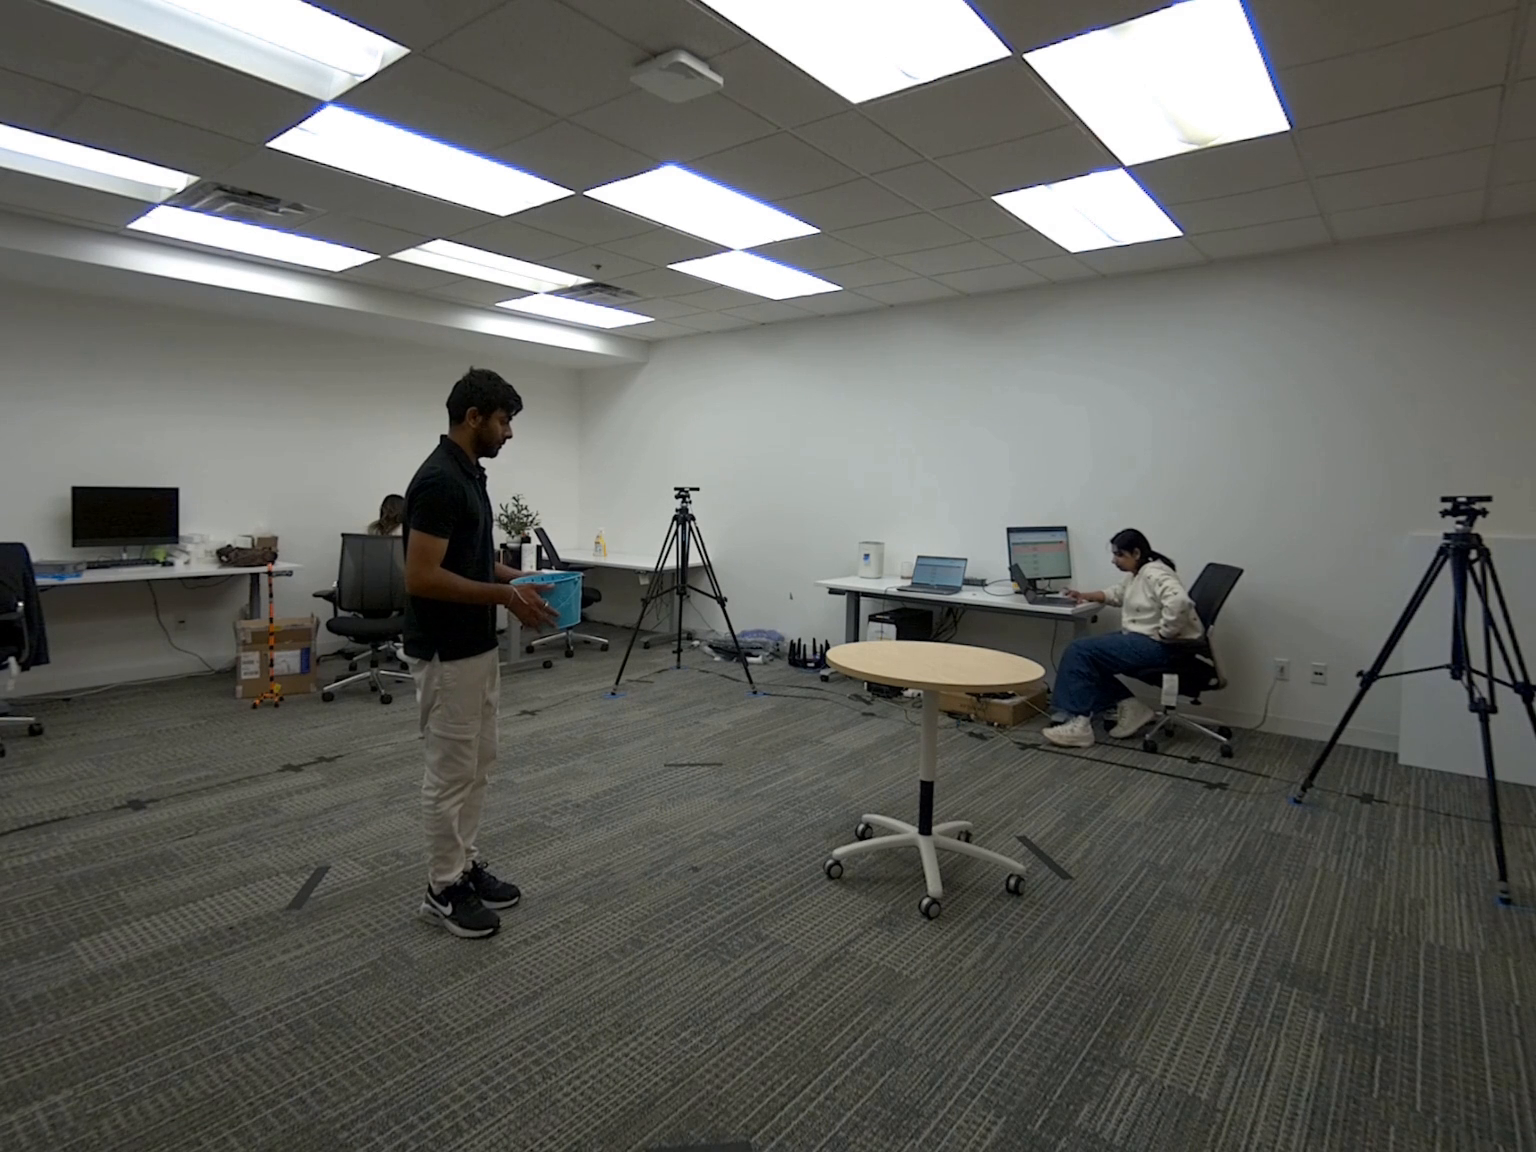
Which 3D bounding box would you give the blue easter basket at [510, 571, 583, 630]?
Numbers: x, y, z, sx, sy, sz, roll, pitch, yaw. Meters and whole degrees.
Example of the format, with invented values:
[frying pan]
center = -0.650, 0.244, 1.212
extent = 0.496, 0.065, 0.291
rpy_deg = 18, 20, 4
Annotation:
[blue easter basket]
center = -0.728, 0.079, 2.712
extent = 0.243, 0.155, 0.245
rpy_deg = -3, 7, -1
